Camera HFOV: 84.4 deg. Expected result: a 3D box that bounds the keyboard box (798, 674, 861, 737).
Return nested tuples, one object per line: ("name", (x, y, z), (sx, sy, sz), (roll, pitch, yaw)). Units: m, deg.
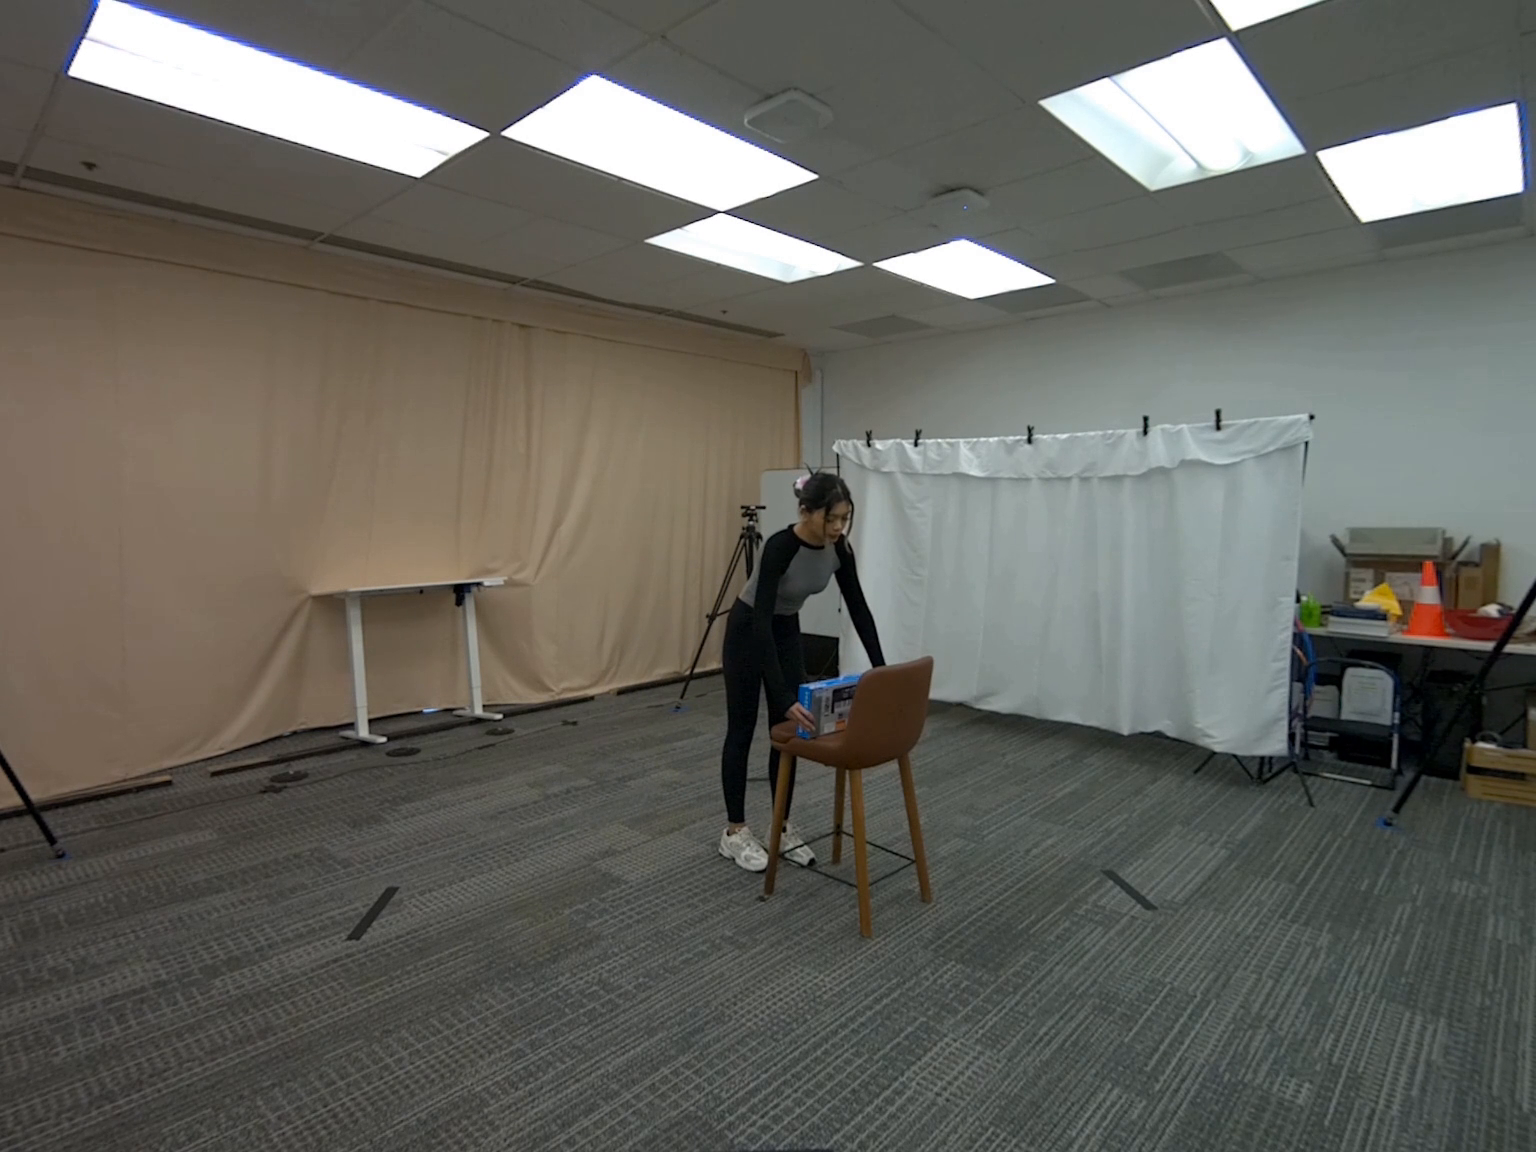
("keyboard box", (0.287, 0.446, 2.955), (0.424, 0.175, 0.061), (-4, 10, -39))
